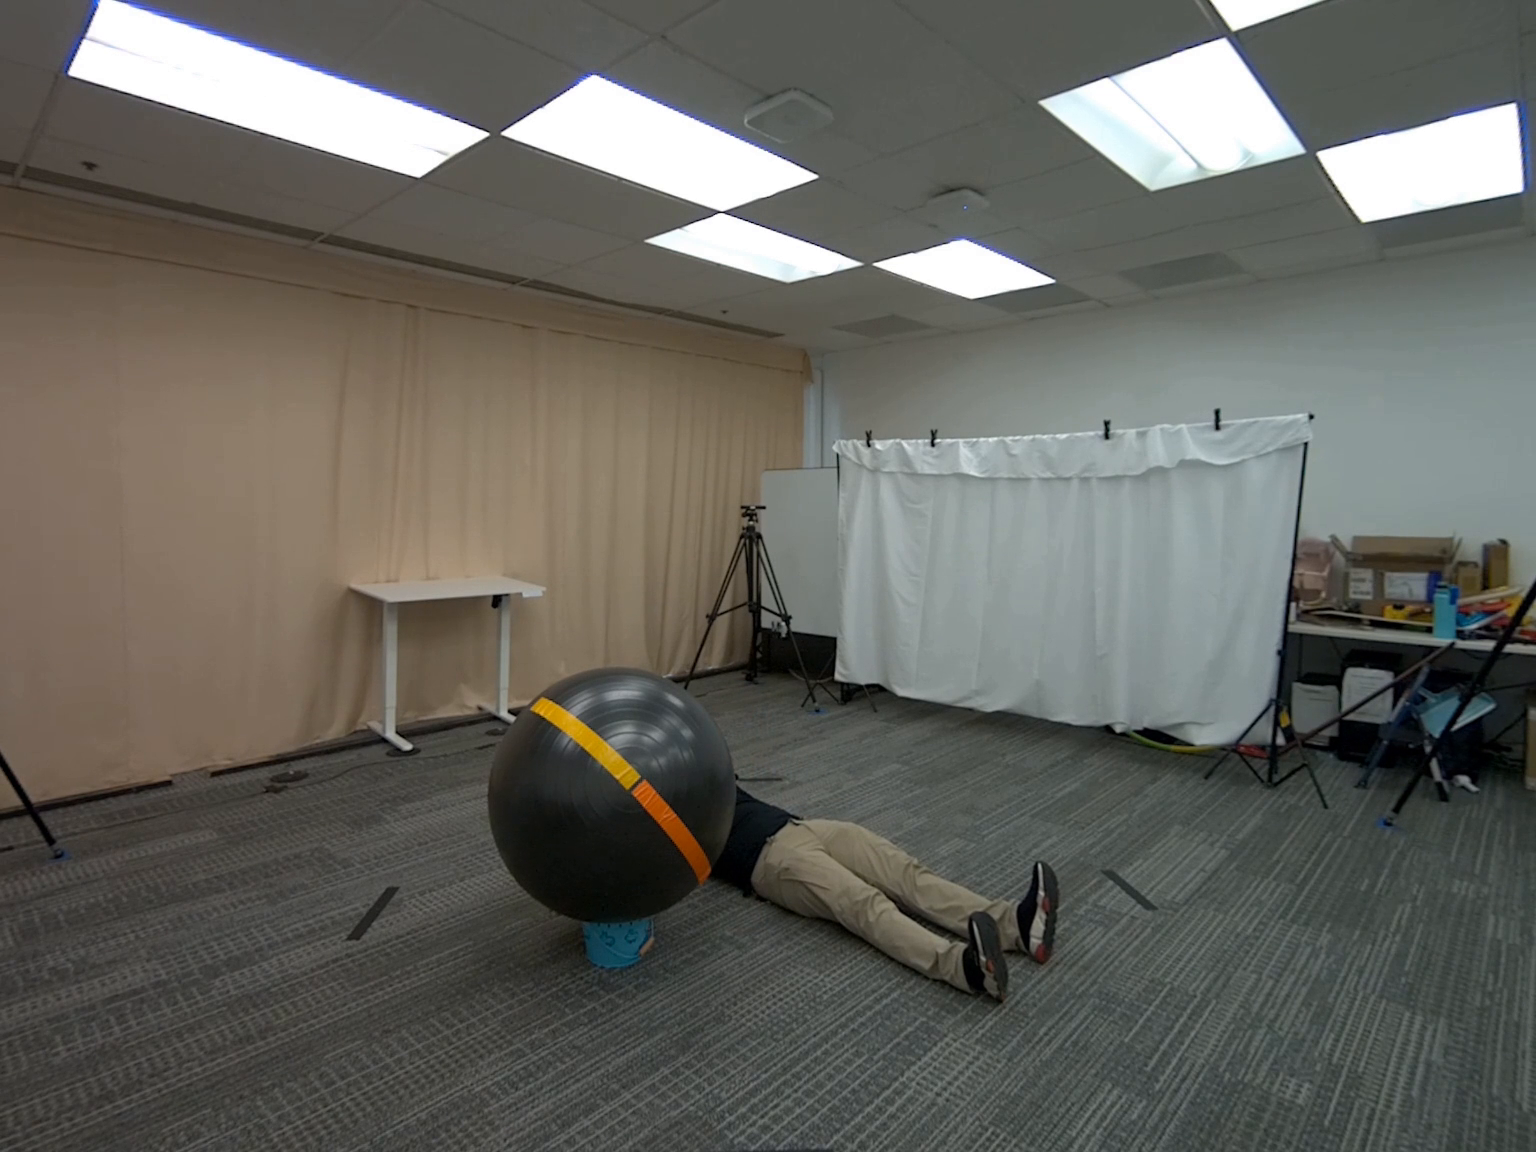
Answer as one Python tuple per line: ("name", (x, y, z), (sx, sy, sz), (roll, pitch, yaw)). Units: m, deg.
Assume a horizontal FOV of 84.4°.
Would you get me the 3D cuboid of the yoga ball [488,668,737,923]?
("yoga ball", (-0.476, 0.668, 2.611), (0.757, 0.756, 0.761), (0, 4, -2))
